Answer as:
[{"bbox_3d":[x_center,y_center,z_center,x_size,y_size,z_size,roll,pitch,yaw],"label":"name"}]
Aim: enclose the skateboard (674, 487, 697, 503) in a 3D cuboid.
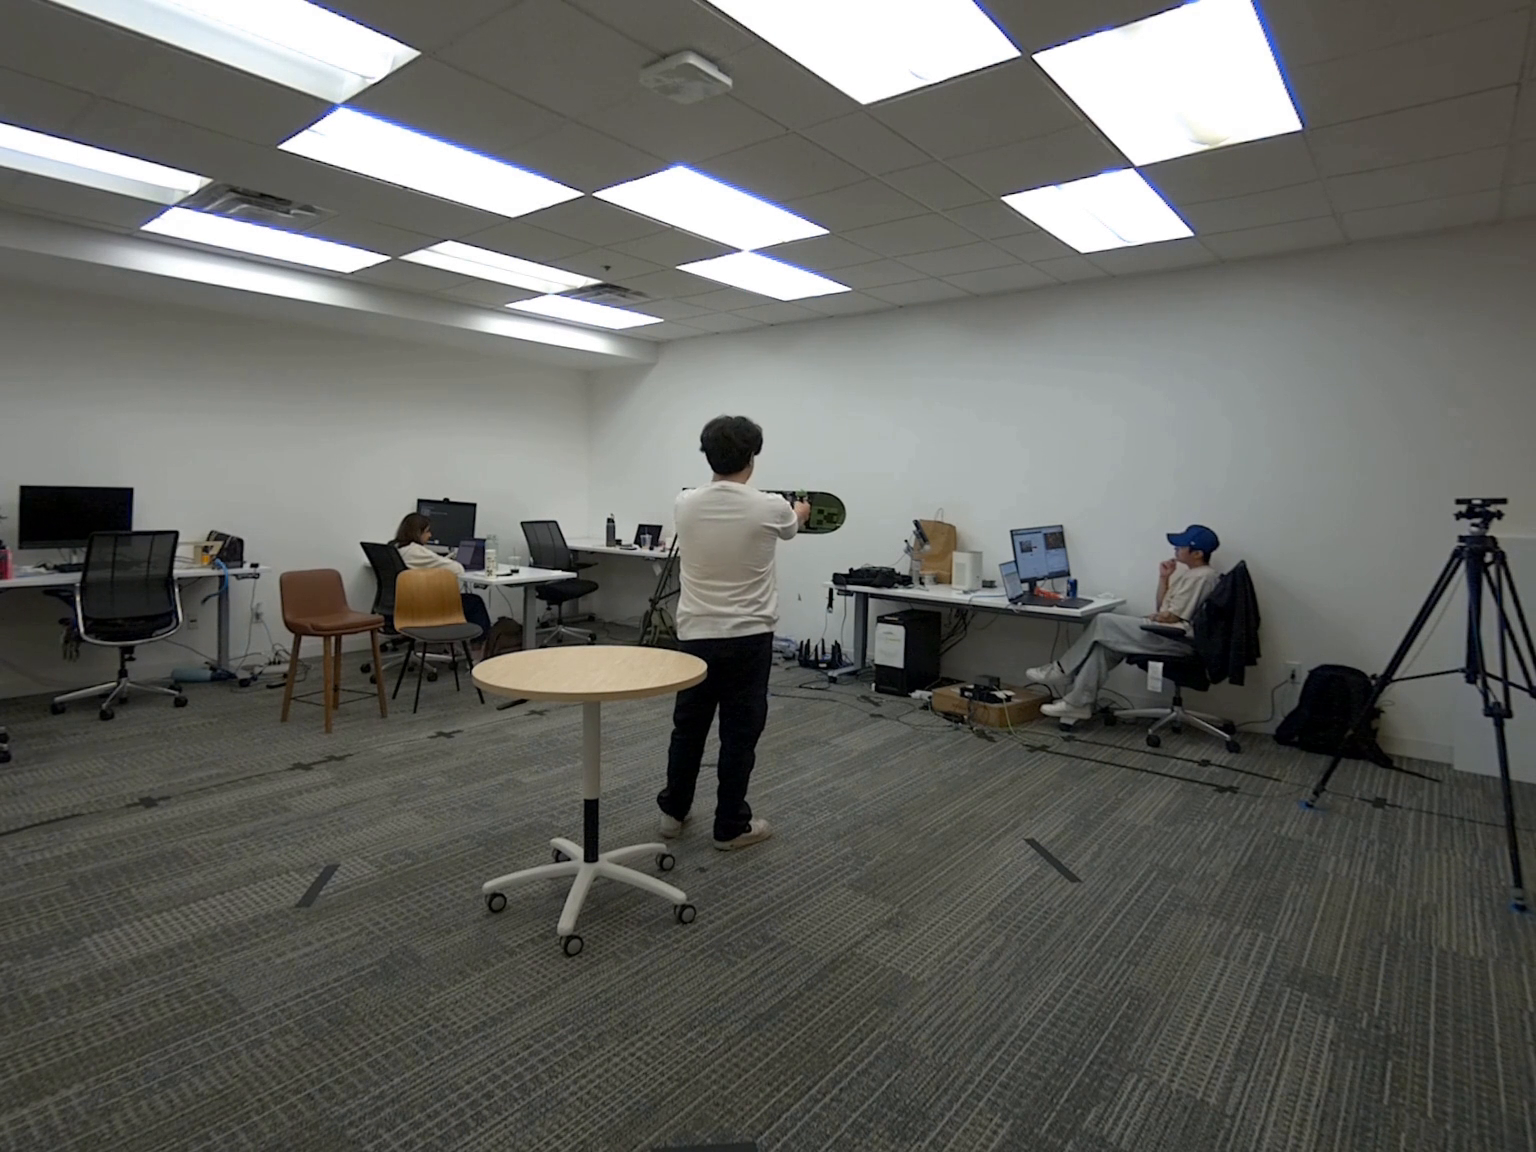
[{"bbox_3d":[-0.053,-0.300,3.867,0.797,0.193,0.109,3,0,13],"label":"skateboard"}]
